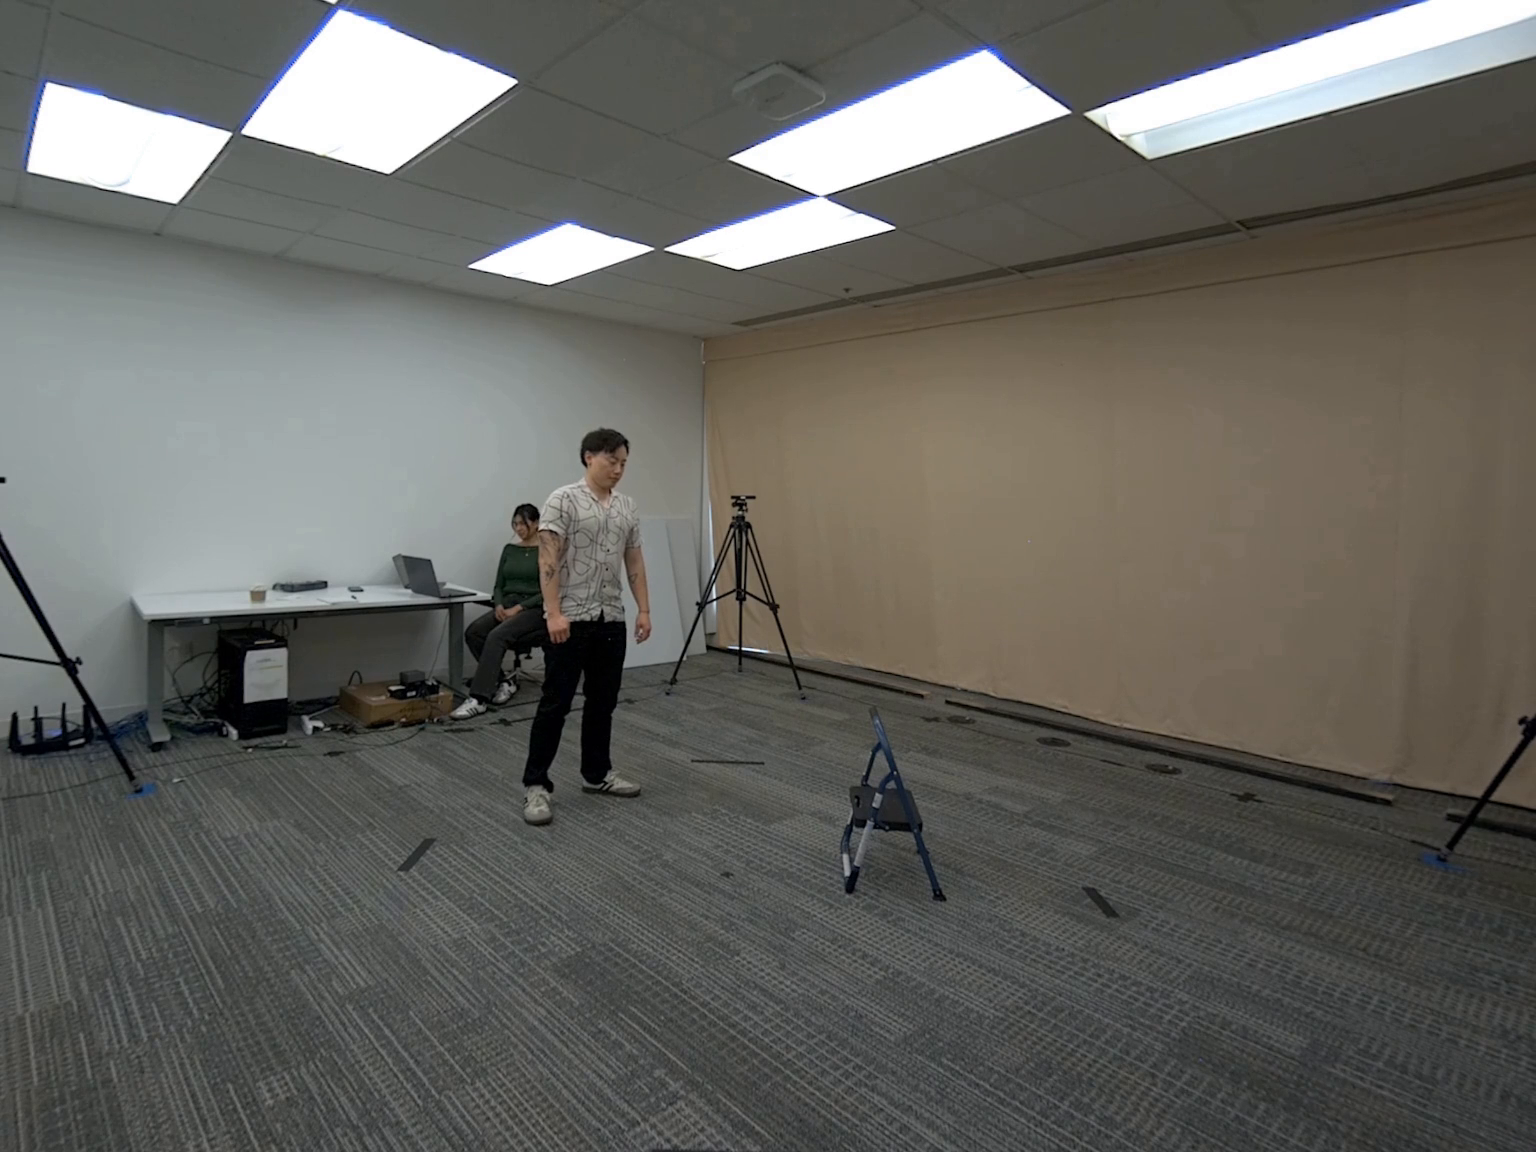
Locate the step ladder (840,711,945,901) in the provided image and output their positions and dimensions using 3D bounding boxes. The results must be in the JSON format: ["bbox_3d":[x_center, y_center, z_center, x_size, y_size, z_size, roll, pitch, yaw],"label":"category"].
[{"bbox_3d":[0.456,0.815,3.145,0.350,0.604,0.431,2,4,2],"label":"step ladder"}]
